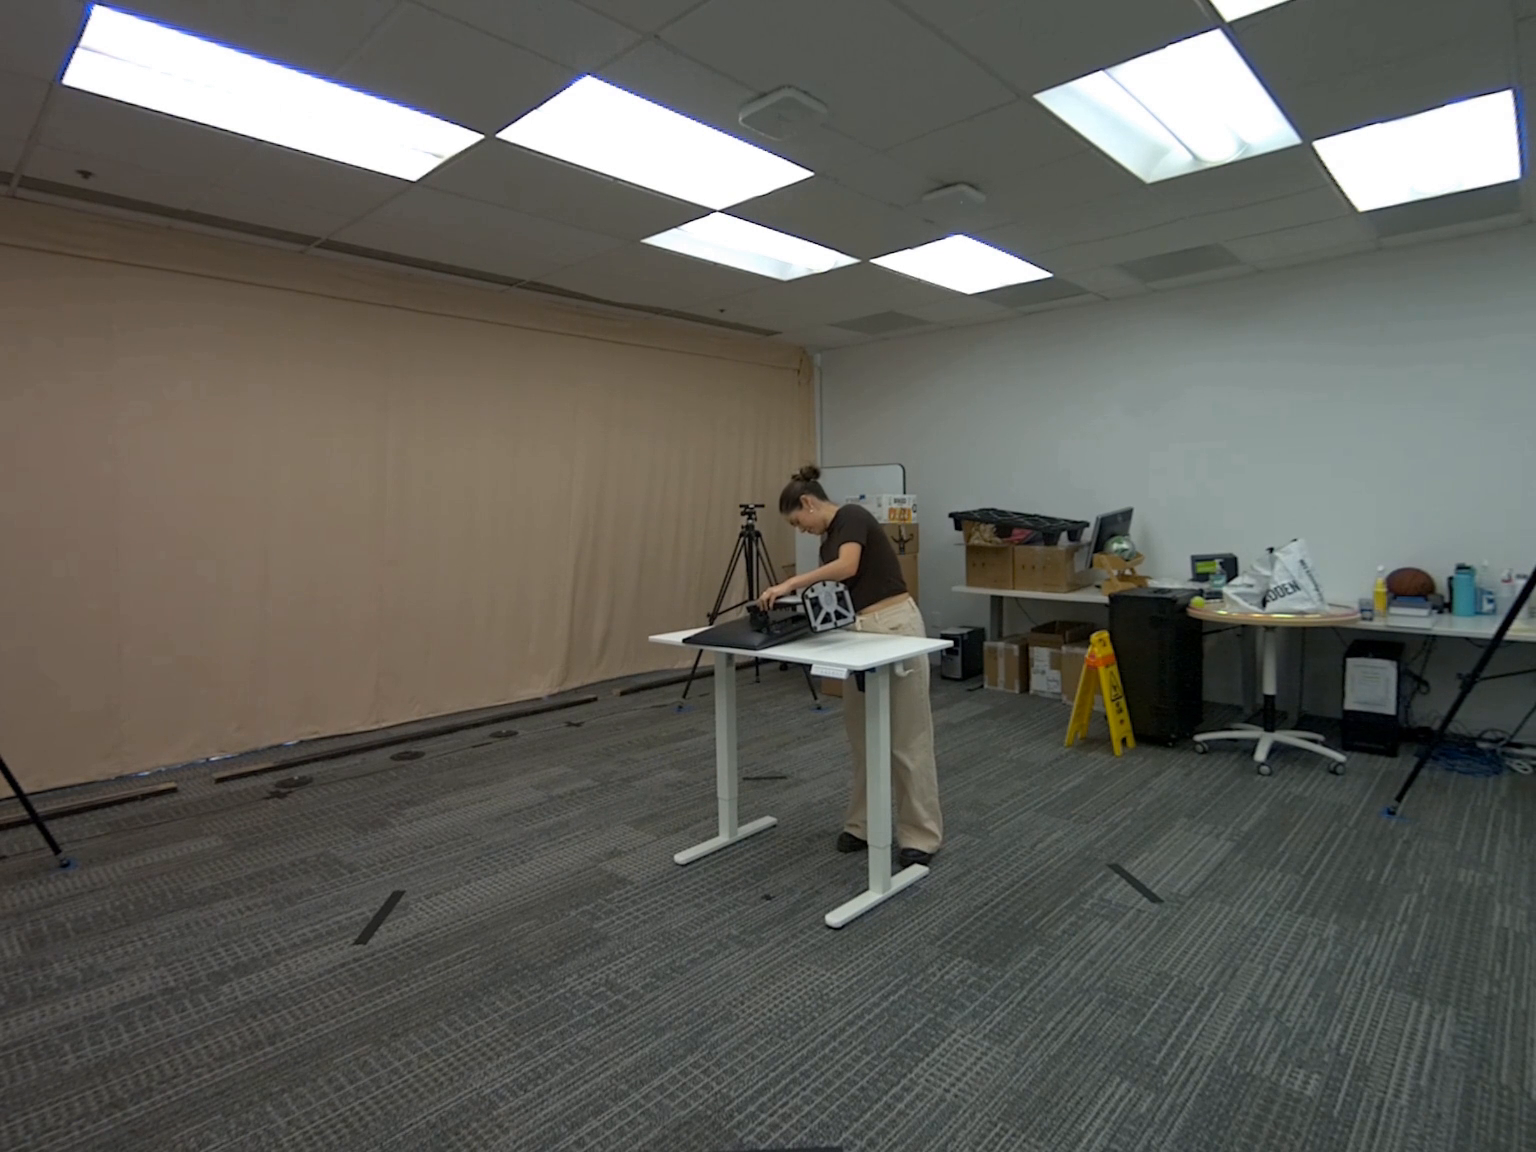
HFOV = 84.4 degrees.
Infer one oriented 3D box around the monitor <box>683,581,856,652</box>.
[{"bbox_3d":[0.041,0.161,3.177,0.535,0.188,0.524,-18,-5,40],"label":"monitor"}]
